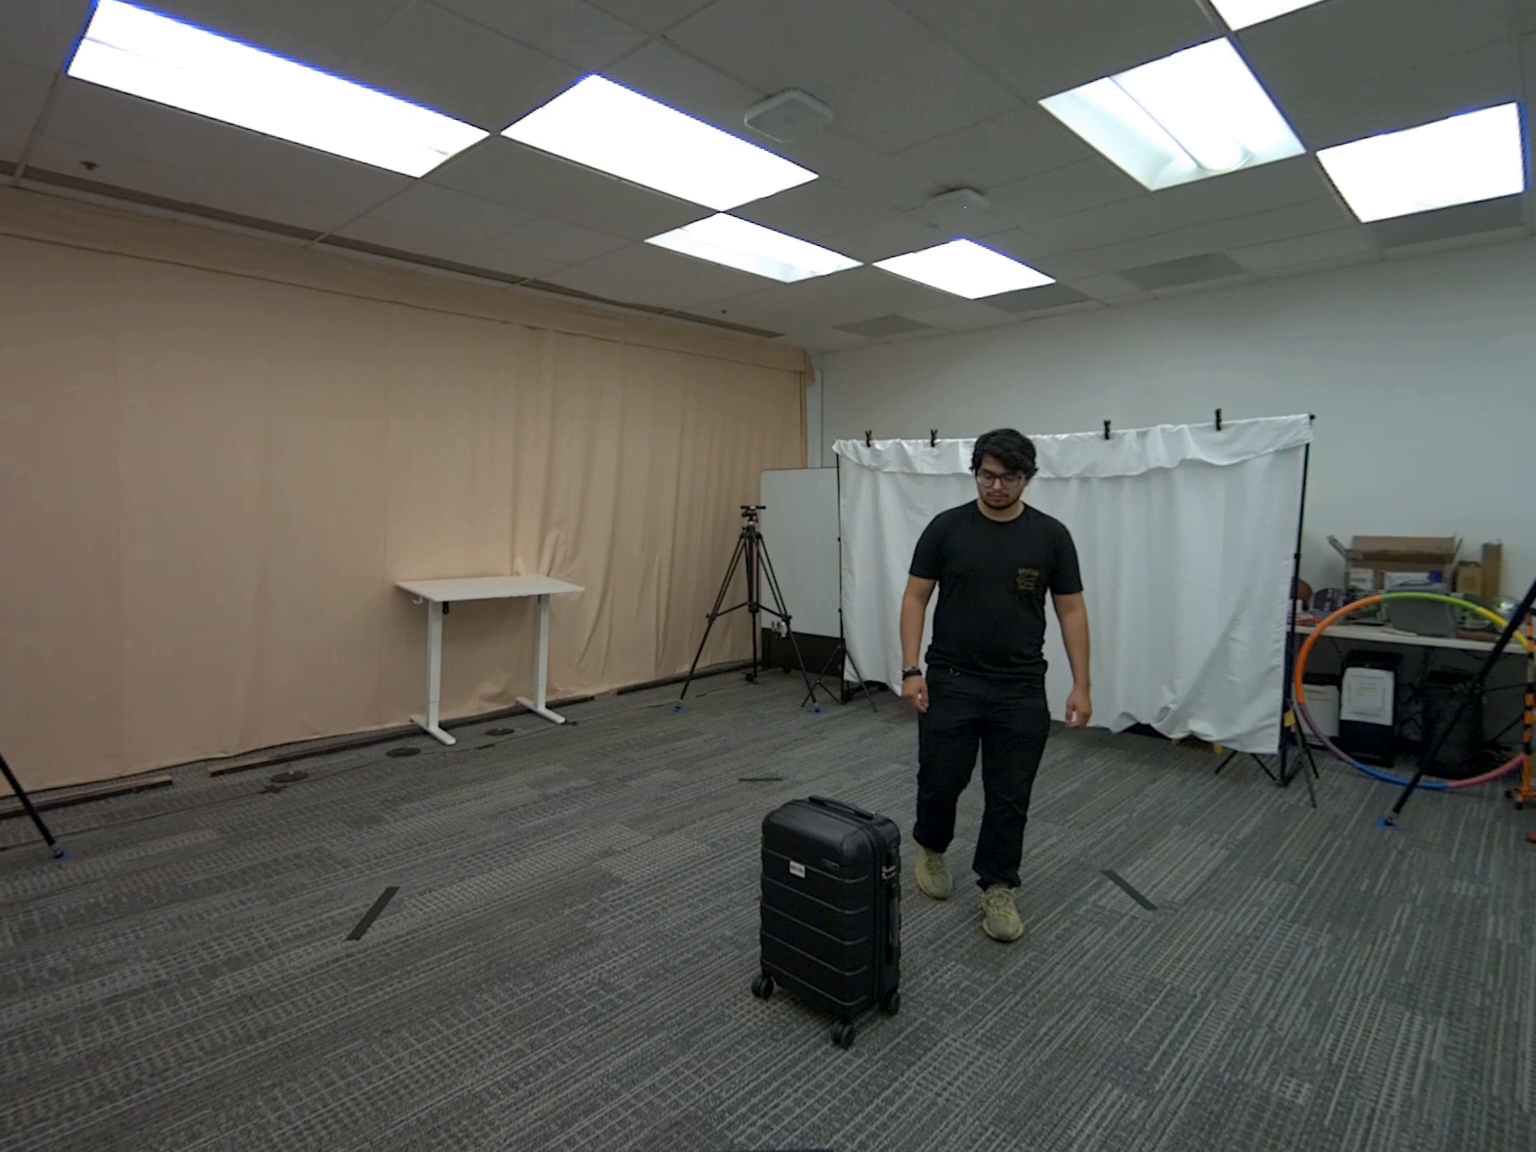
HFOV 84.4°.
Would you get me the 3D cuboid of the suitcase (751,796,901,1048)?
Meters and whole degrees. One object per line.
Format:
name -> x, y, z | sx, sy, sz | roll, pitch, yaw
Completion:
suitcase -> 0.177, 0.920, 2.346 | 0.388, 0.548, 0.240 | 4, 3, 45
